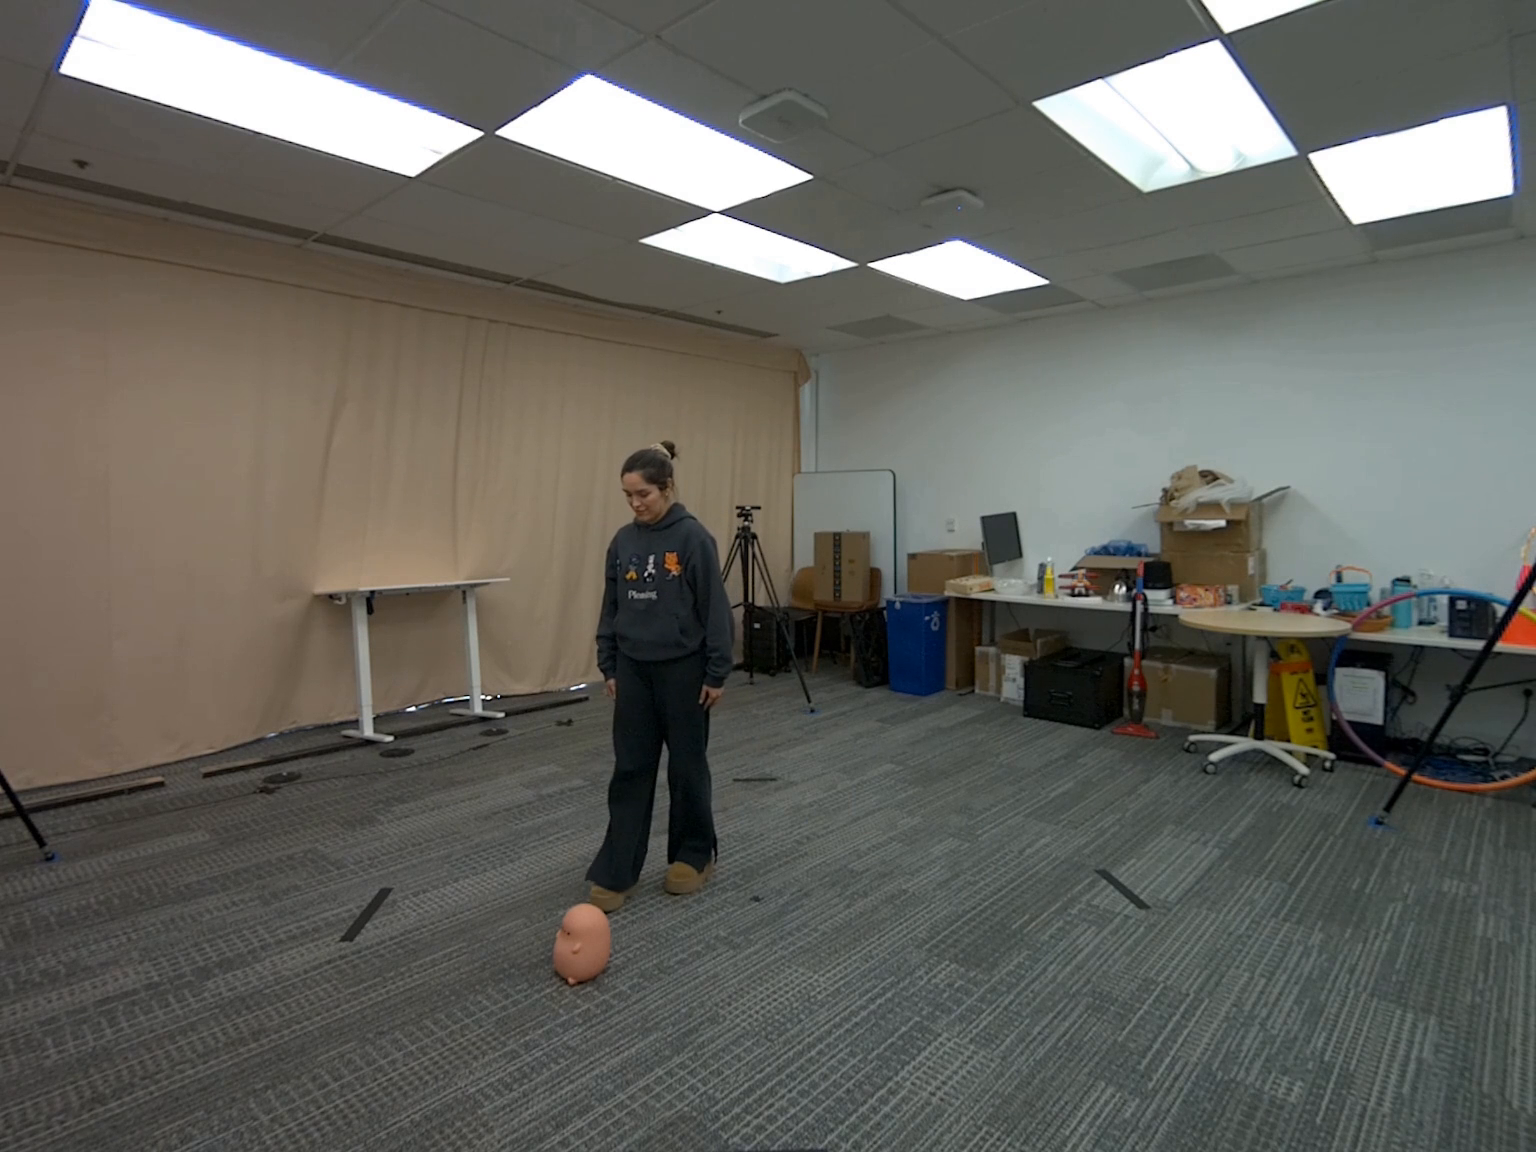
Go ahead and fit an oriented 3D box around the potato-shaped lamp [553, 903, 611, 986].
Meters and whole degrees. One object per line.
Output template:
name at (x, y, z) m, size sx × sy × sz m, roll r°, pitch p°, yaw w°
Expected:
potato-shaped lamp at (-0.543, 1.088, 2.523) m, size 0.166 × 0.198 × 0.170 m, roll -2°, pitch 2°, yaw -39°
